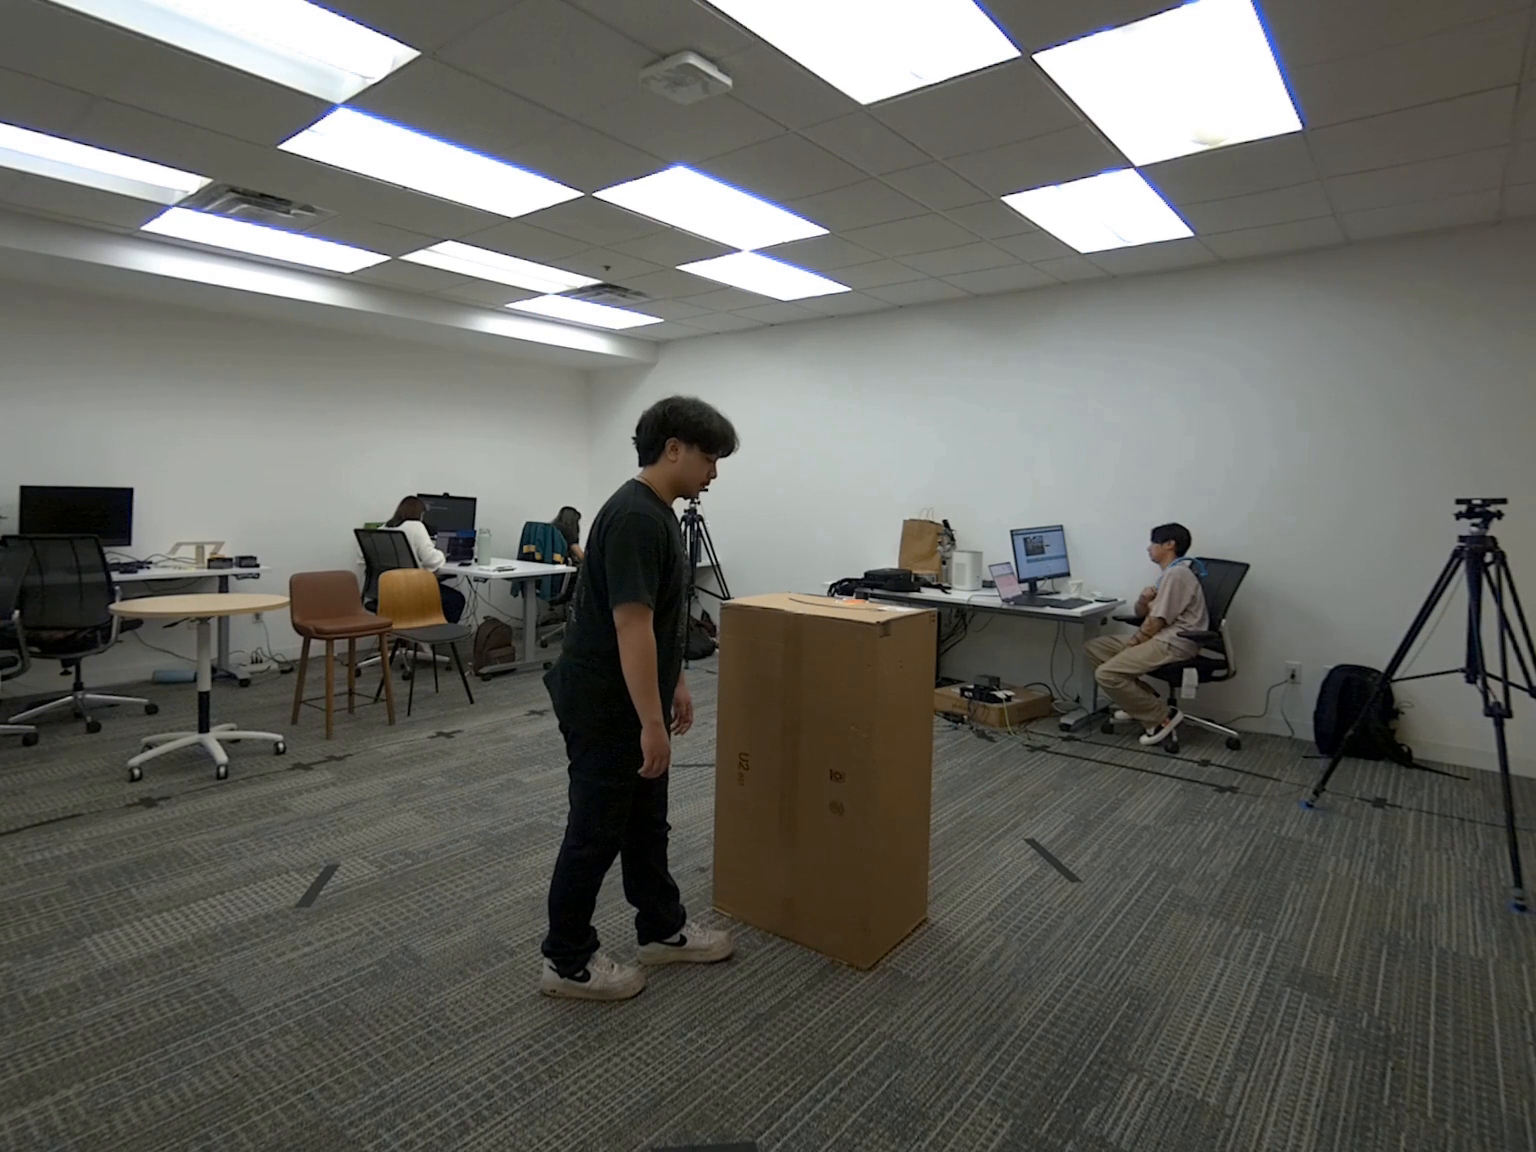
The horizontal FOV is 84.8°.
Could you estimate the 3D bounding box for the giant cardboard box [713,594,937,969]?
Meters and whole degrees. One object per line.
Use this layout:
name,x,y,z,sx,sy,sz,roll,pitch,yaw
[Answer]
giant cardboard box,0.177,0.599,2.783,0.603,1.025,0.433,4,3,37
